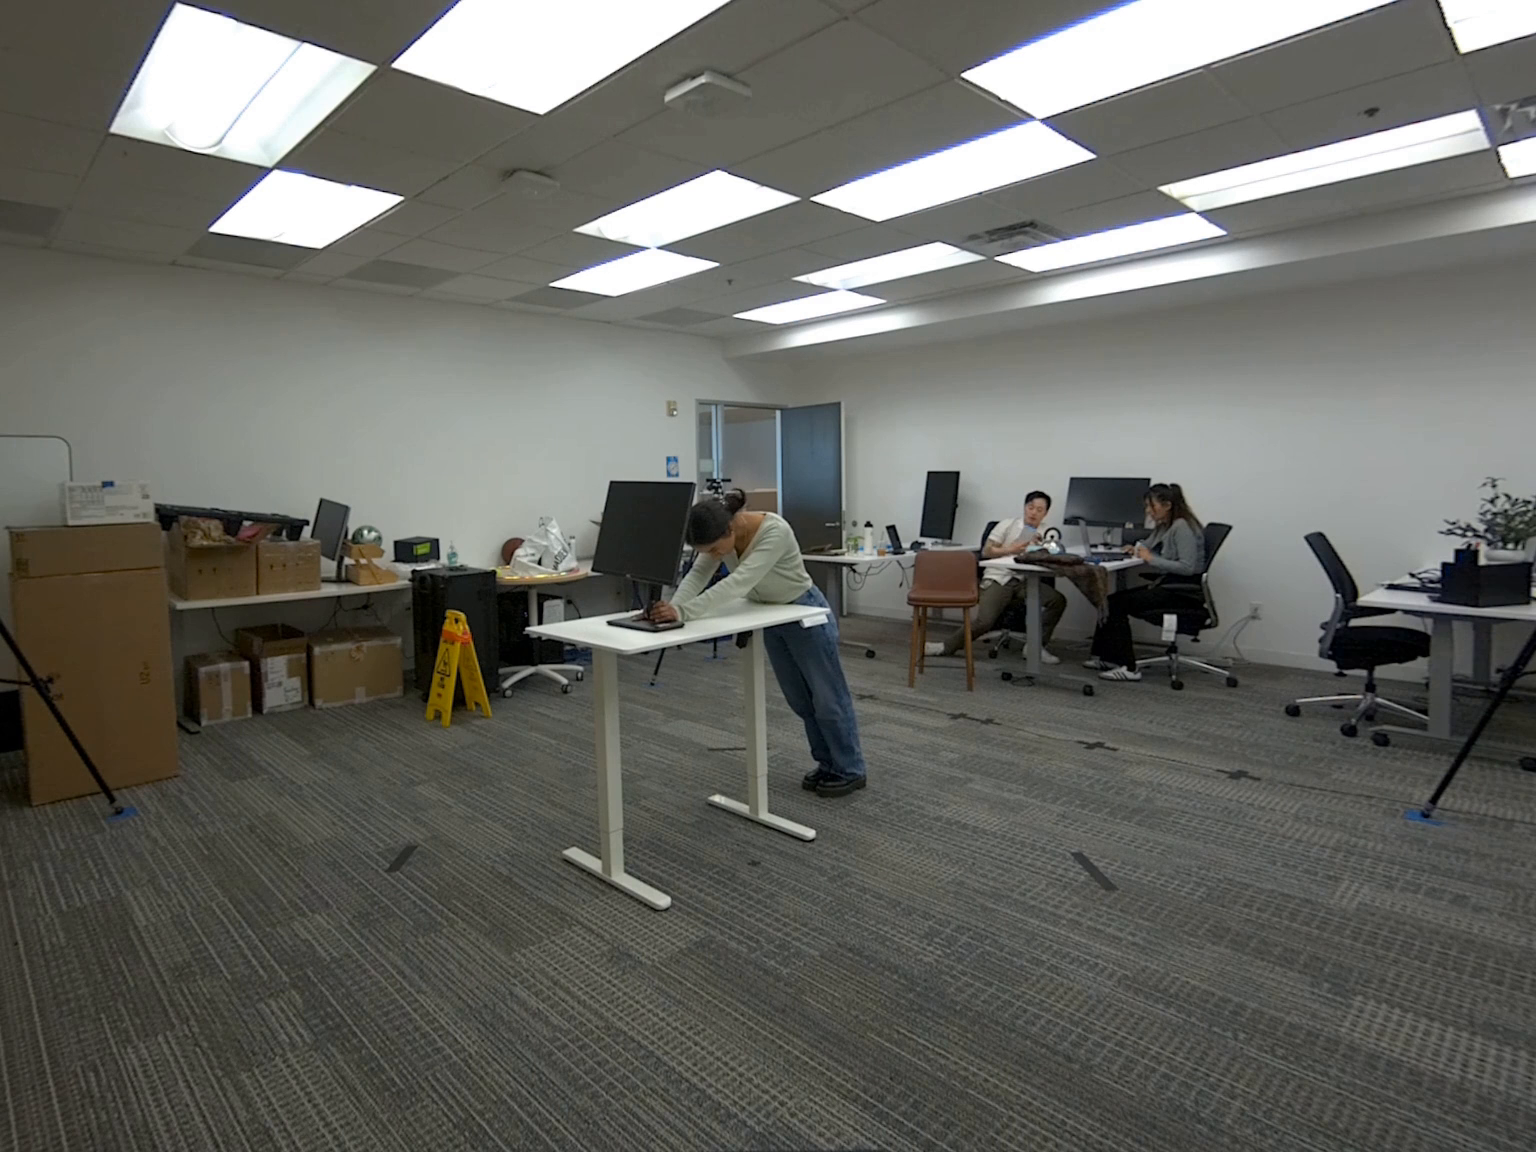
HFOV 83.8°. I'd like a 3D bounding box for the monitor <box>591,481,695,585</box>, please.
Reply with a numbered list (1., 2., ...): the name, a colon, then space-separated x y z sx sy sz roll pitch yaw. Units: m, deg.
1. monitor: -0.429 -0.076 3.043 0.182 0.521 0.556 -1 5 -42
